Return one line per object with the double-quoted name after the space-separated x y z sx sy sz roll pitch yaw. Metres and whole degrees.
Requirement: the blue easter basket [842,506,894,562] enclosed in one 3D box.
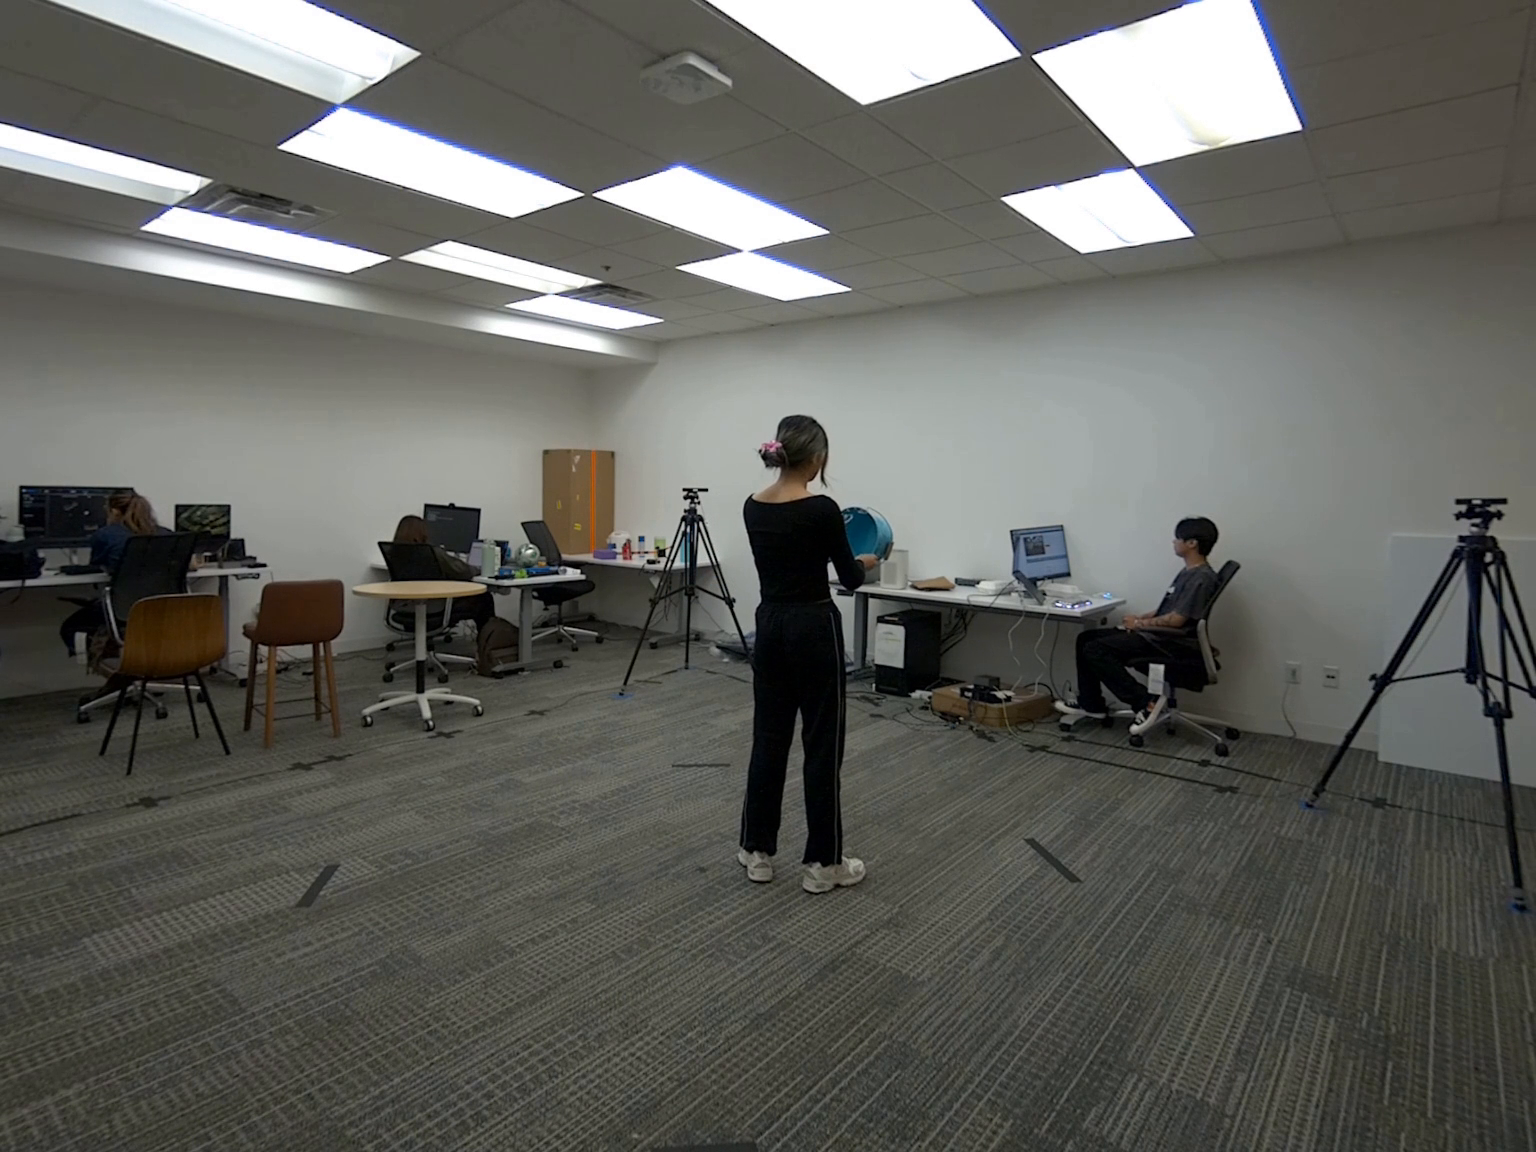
0.370 -0.165 3.378 0.252 0.244 0.150 4 -1 40 "blue easter basket"
